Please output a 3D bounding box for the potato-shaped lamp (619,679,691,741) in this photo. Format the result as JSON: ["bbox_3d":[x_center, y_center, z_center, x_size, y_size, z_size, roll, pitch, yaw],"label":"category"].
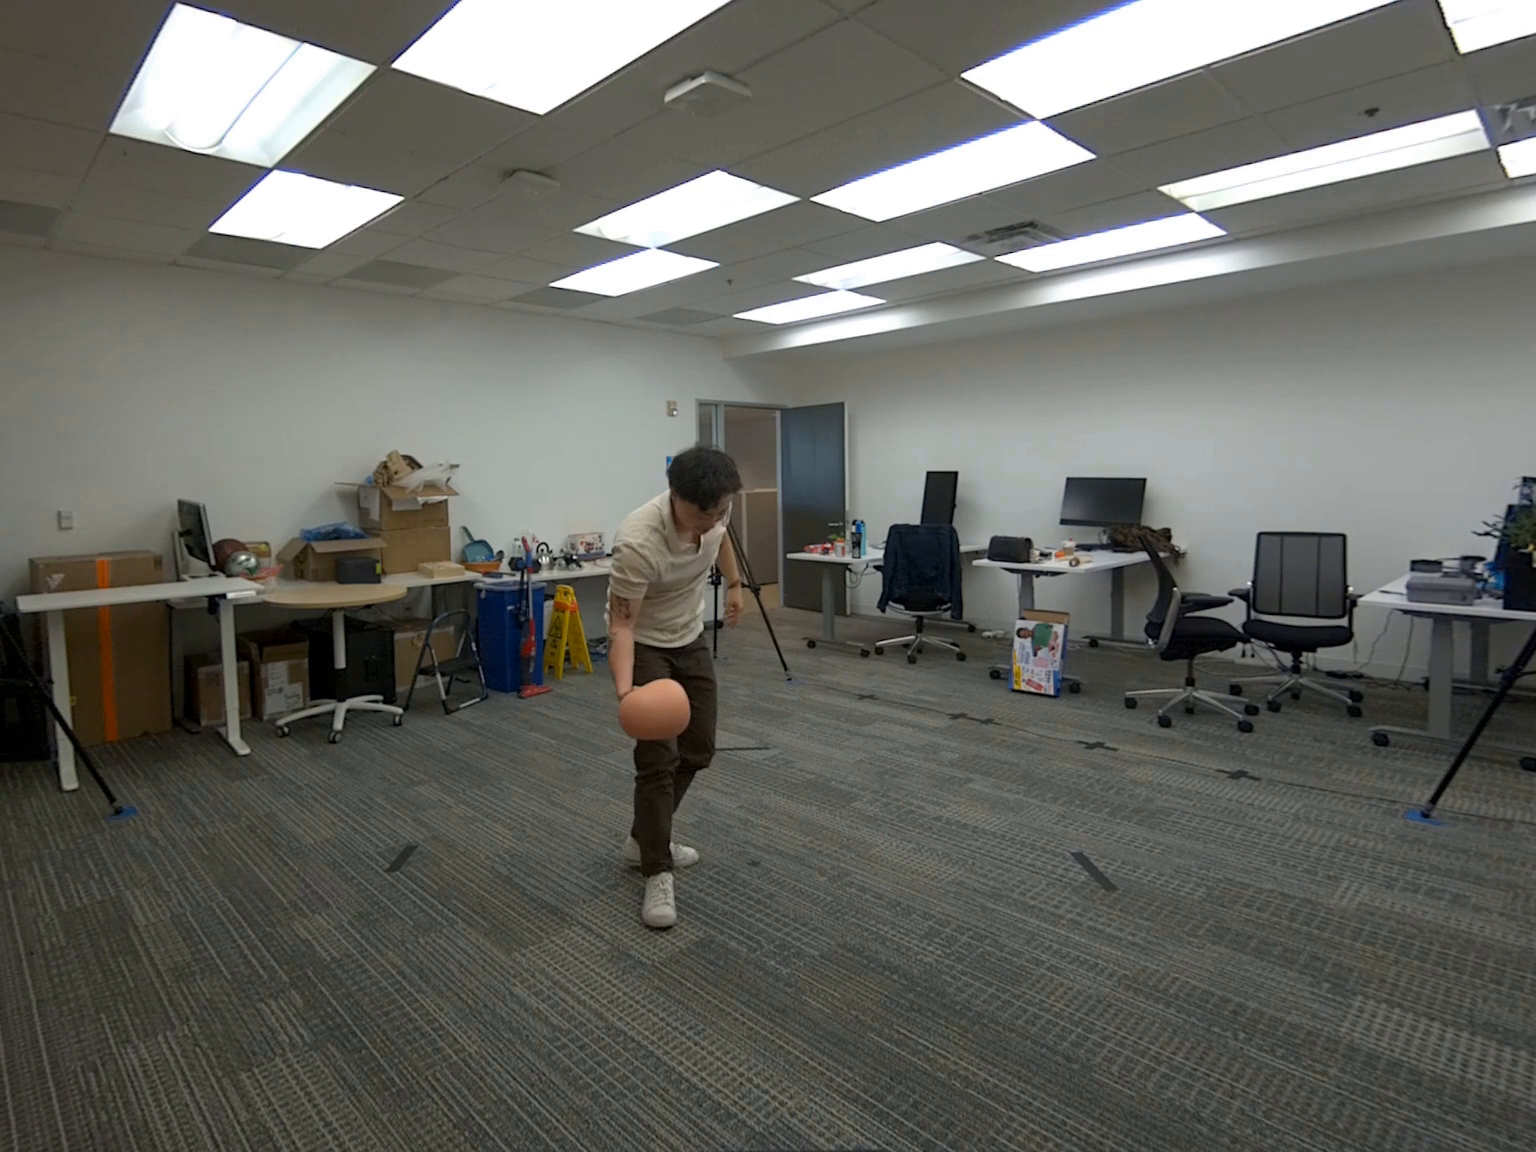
[{"bbox_3d":[-0.318,0.384,2.387,0.194,0.166,0.174,-7,-5,-28],"label":"potato-shaped lamp"}]
